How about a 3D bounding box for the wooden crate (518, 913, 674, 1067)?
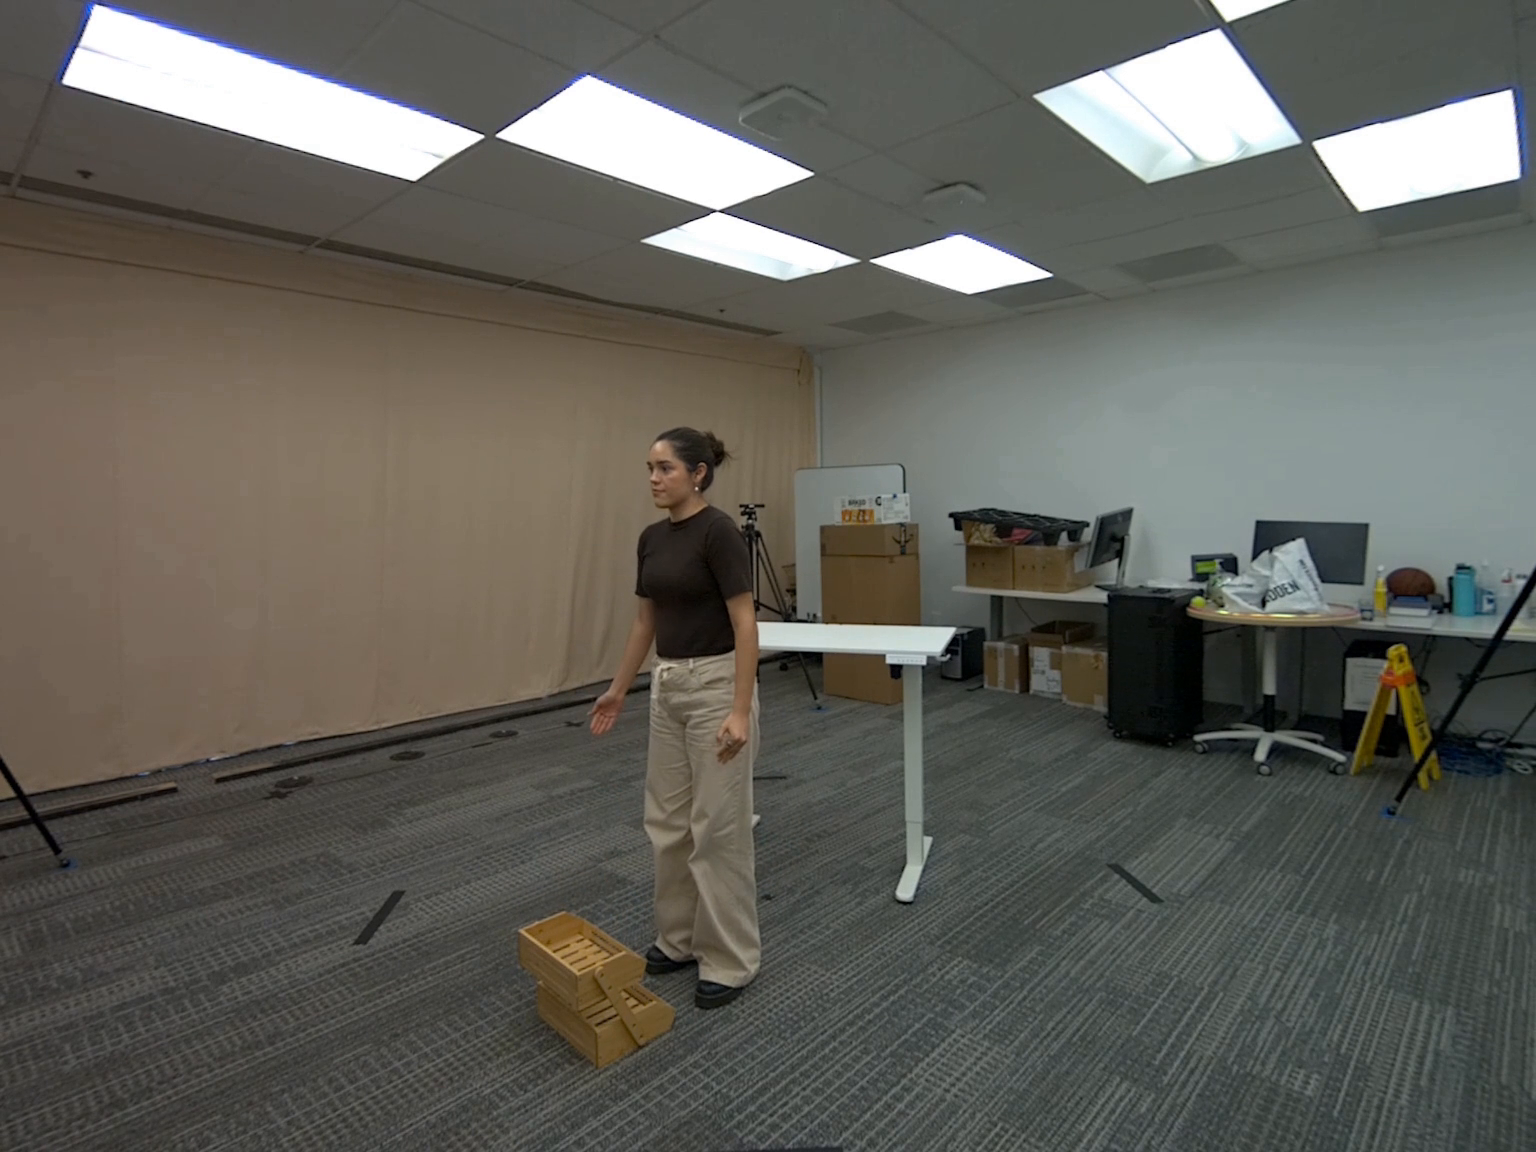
[{"bbox_3d":[-0.460,1.077,2.256,0.293,0.272,0.335,-6,6,-43],"label":"wooden crate"}]
